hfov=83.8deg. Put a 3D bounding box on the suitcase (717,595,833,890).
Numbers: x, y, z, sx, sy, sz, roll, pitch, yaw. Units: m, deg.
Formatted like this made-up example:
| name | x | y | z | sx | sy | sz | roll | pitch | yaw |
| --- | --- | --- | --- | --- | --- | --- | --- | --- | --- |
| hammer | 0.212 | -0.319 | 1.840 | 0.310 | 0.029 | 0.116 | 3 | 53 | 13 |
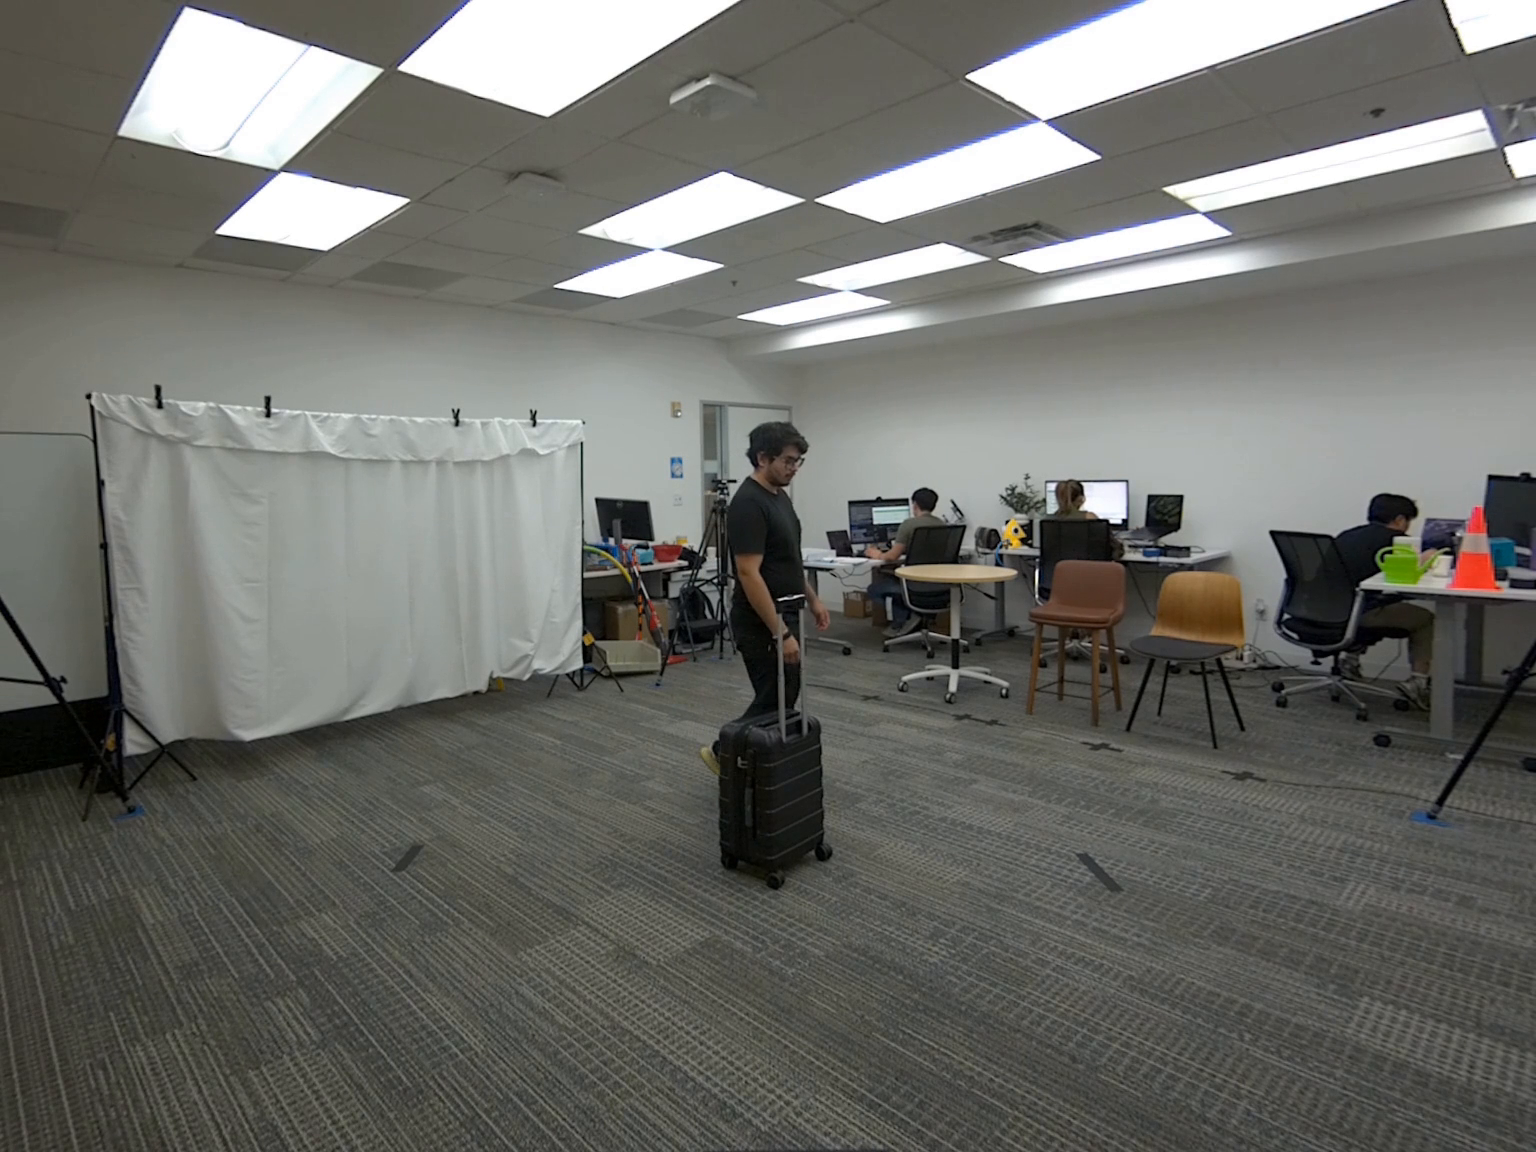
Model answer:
| name | x | y | z | sx | sy | sz | roll | pitch | yaw |
| --- | --- | --- | --- | --- | --- | --- | --- | --- | --- |
| suitcase | 0.005 | 0.571 | 3.088 | 0.264 | 0.976 | 0.374 | 0 | 3 | 39 |
